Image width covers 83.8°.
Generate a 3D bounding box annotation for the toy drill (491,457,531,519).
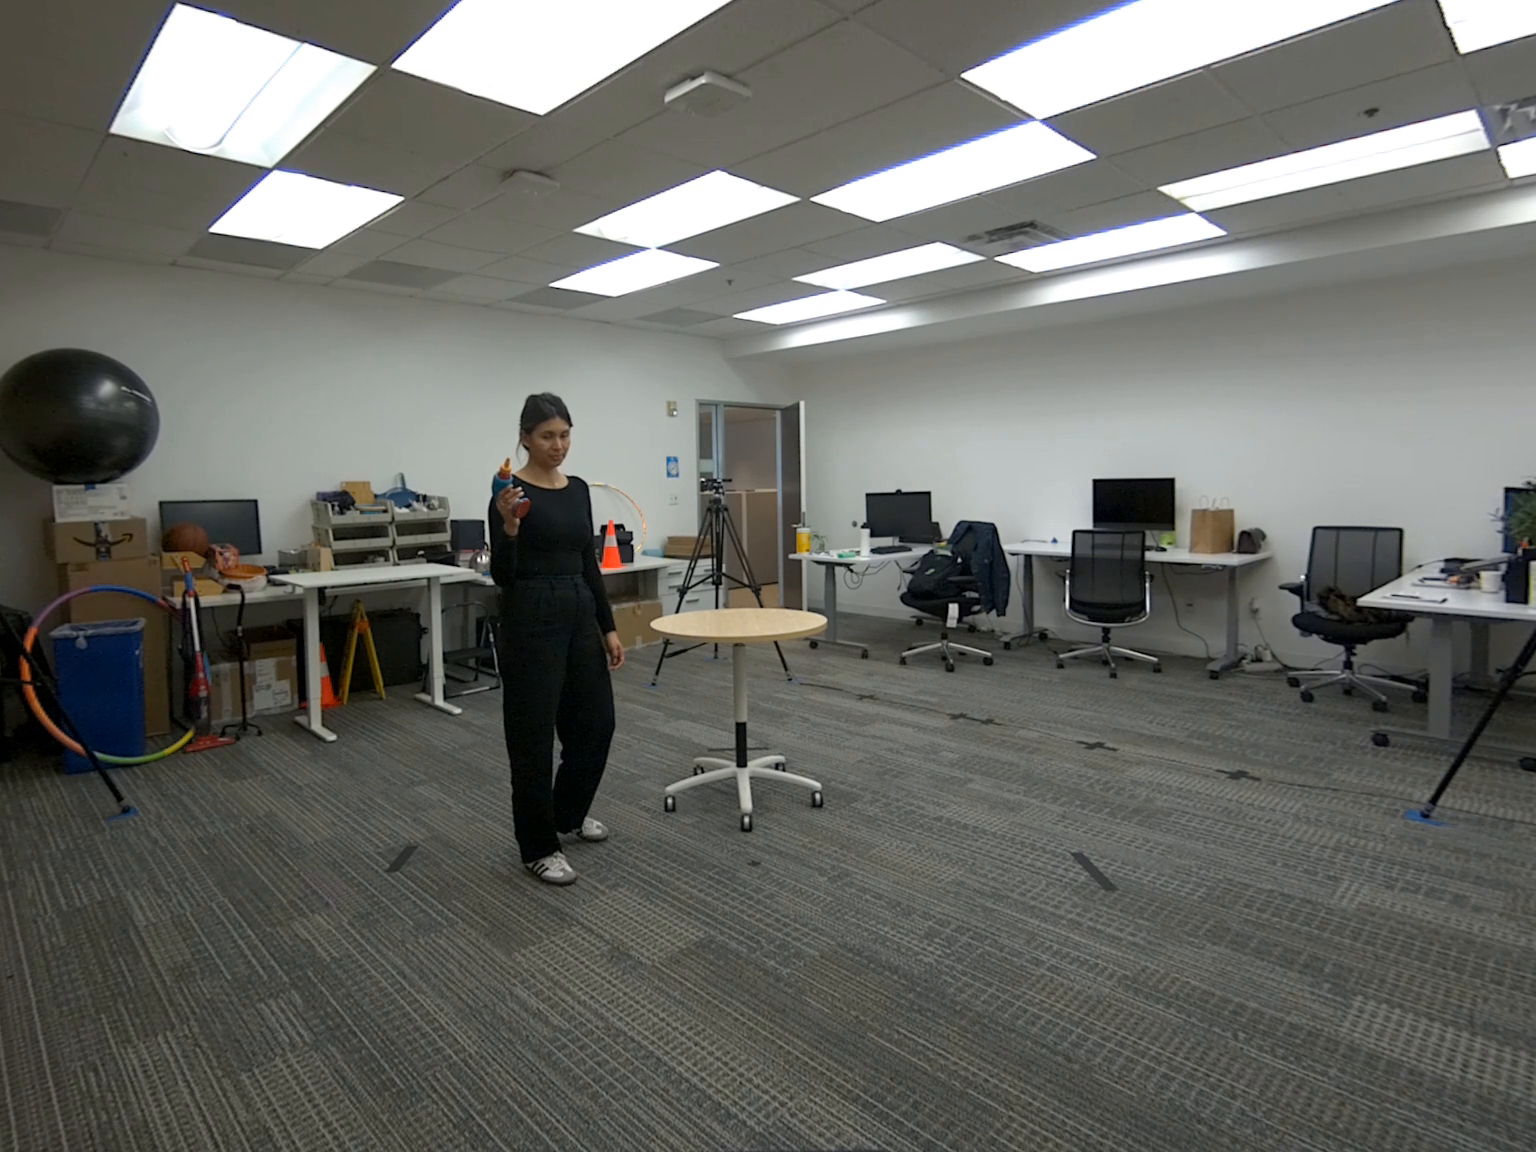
[{"bbox_3d":[-0.802,-0.276,2.636,0.150,0.168,0.060,43,40,19],"label":"toy drill"}]
